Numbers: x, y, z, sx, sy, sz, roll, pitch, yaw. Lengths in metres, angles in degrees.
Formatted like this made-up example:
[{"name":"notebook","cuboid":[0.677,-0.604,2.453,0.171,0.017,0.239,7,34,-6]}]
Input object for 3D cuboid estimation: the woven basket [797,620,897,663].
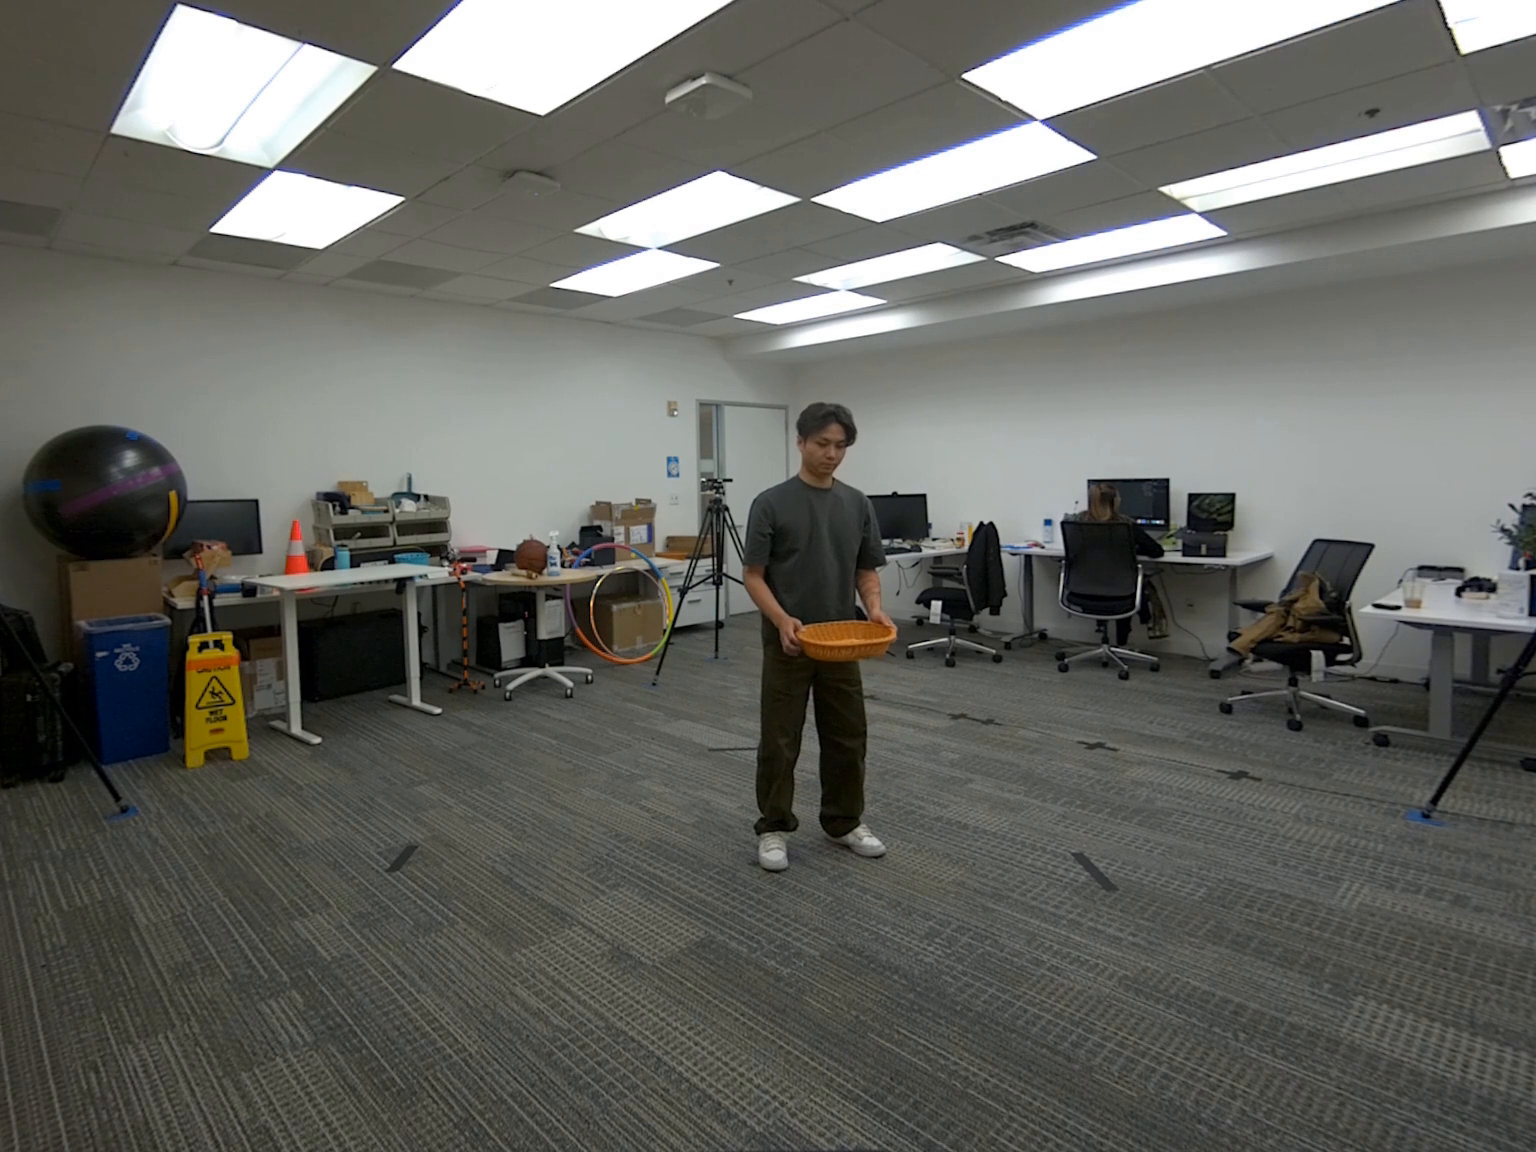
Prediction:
[{"name":"woven basket","cuboid":[0.255,0.224,2.890,0.344,0.072,0.259,-5,14,-20]}]
